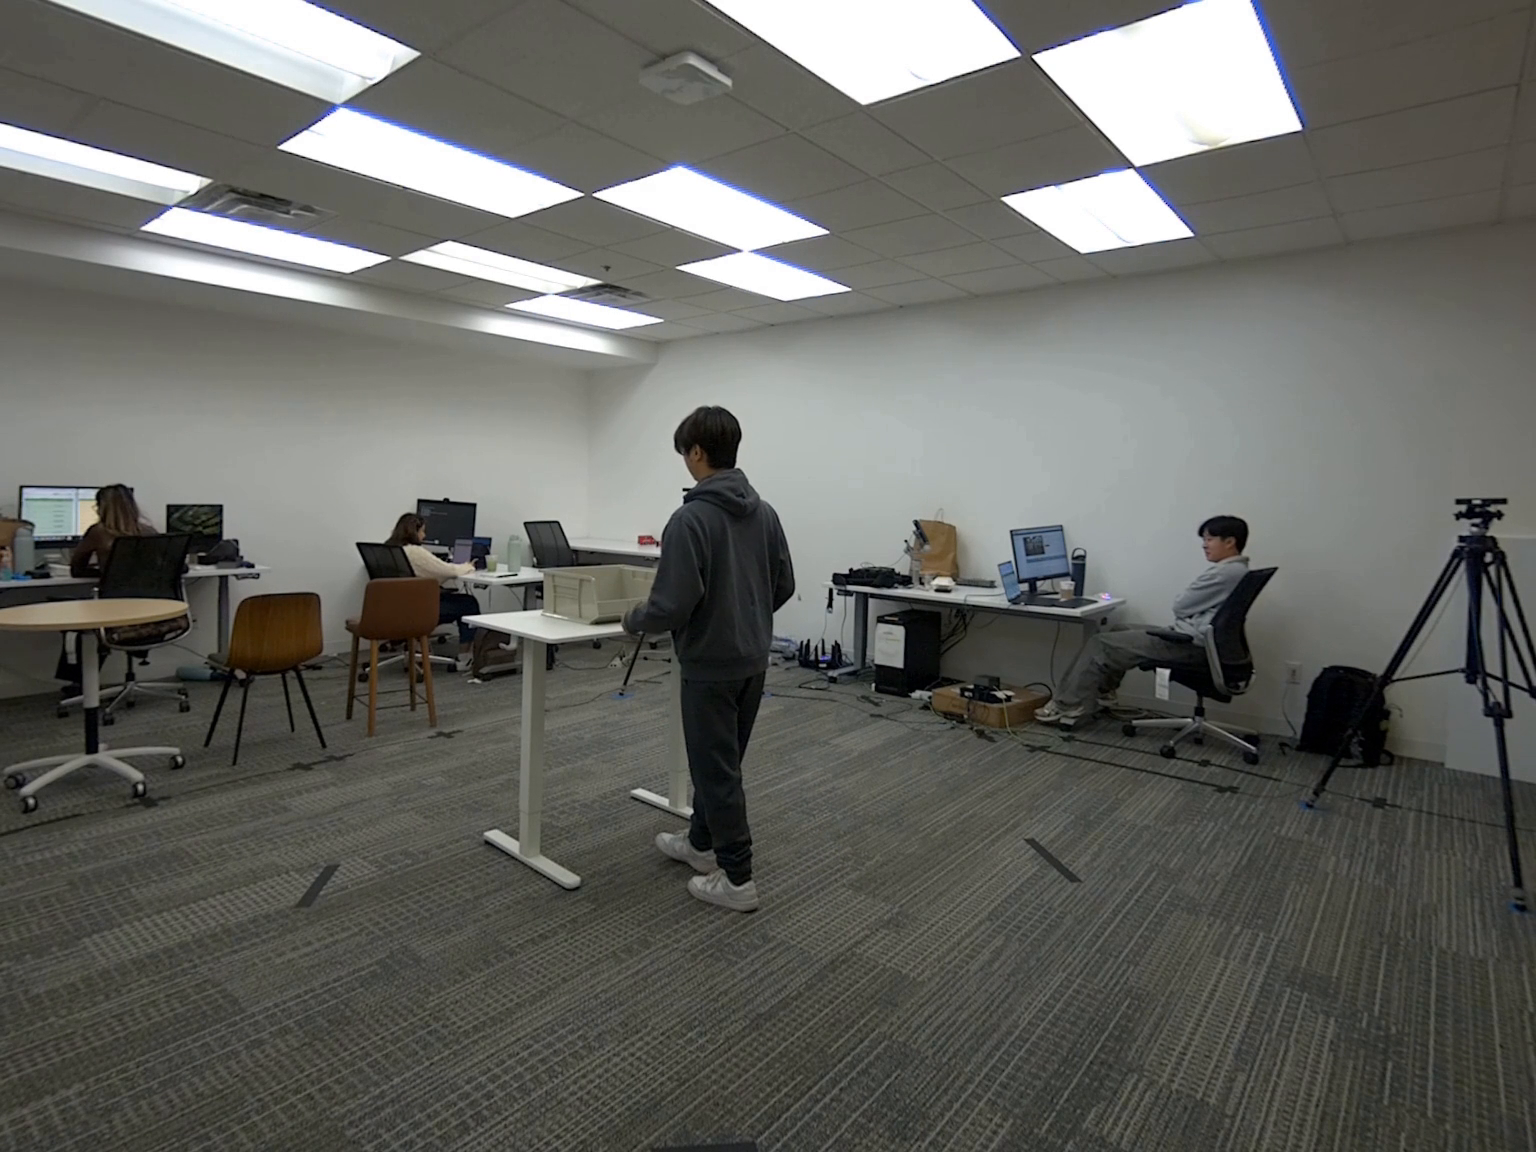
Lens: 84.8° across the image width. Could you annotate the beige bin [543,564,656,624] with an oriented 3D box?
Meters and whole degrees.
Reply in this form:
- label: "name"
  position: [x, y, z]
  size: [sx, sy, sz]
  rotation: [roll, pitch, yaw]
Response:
- label: "beige bin"
  position: [-0.632, 0.069, 3.347]
  size: [0.390, 0.188, 0.409]
  rotation: [5, 6, 42]
